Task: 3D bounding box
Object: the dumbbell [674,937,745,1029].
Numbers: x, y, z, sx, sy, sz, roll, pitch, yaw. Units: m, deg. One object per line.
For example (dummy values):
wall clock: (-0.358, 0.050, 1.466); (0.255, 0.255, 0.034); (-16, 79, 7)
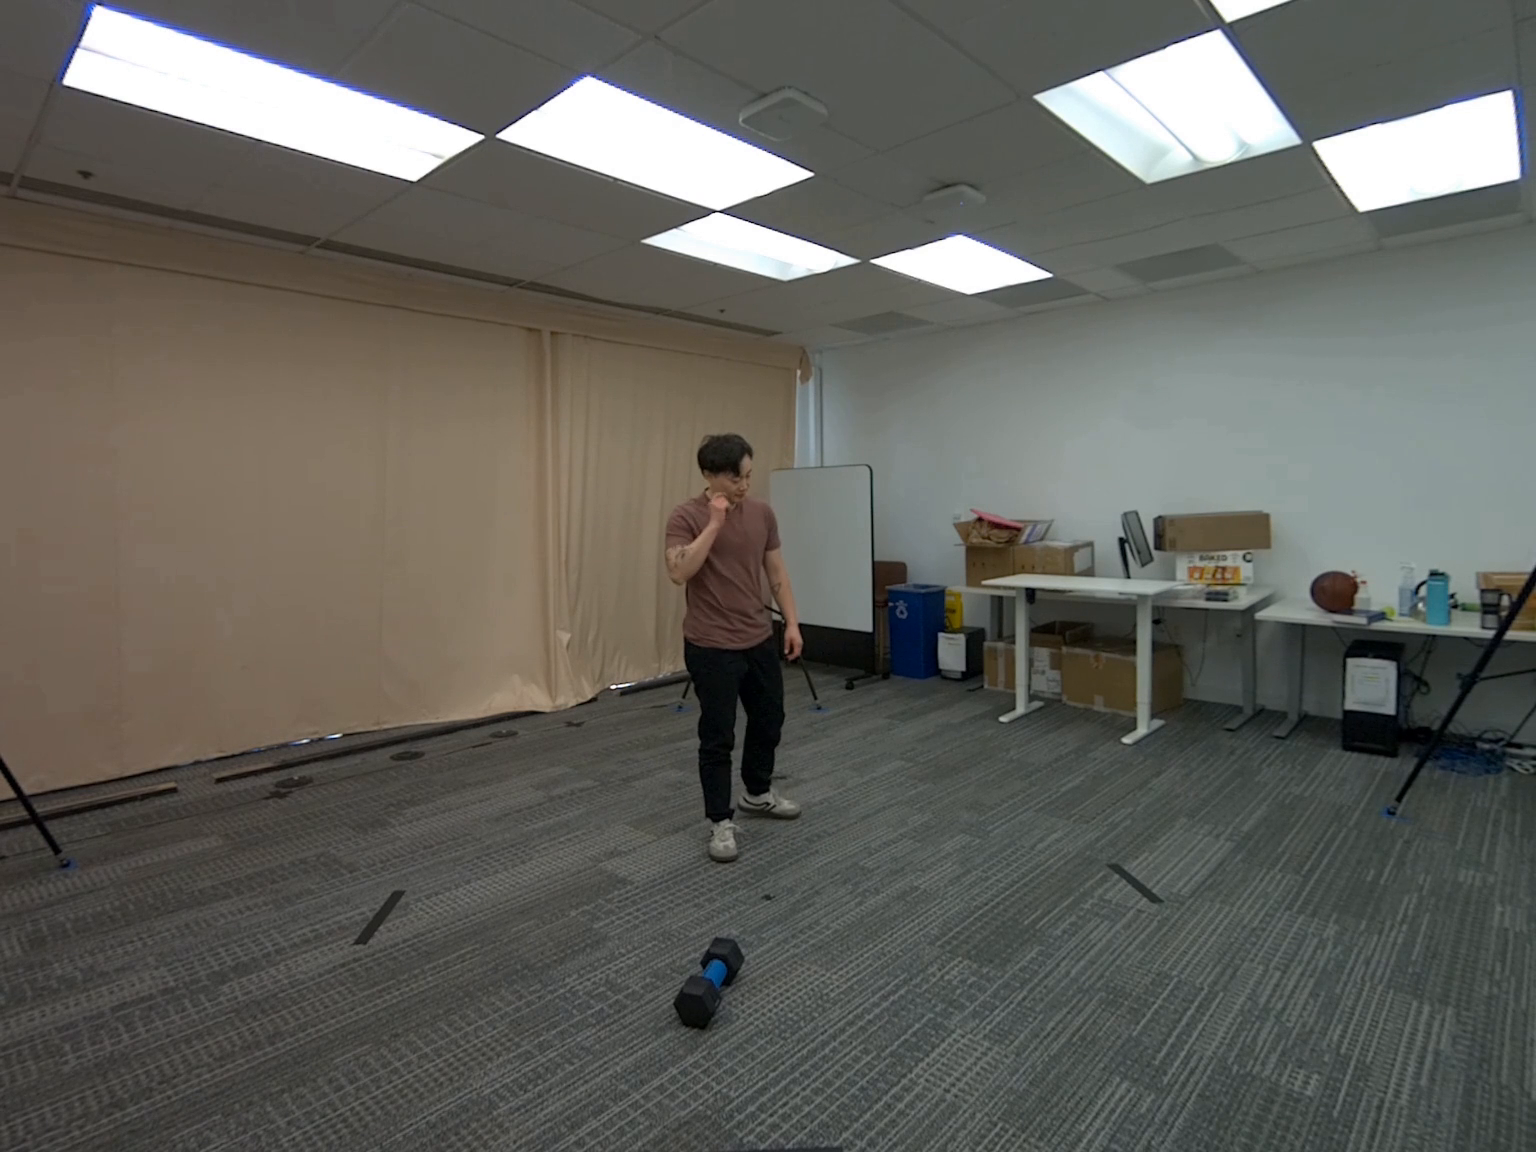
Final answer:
dumbbell: (-0.155, 1.143, 2.371); (0.110, 0.124, 0.289); (-29, -4, 17)
